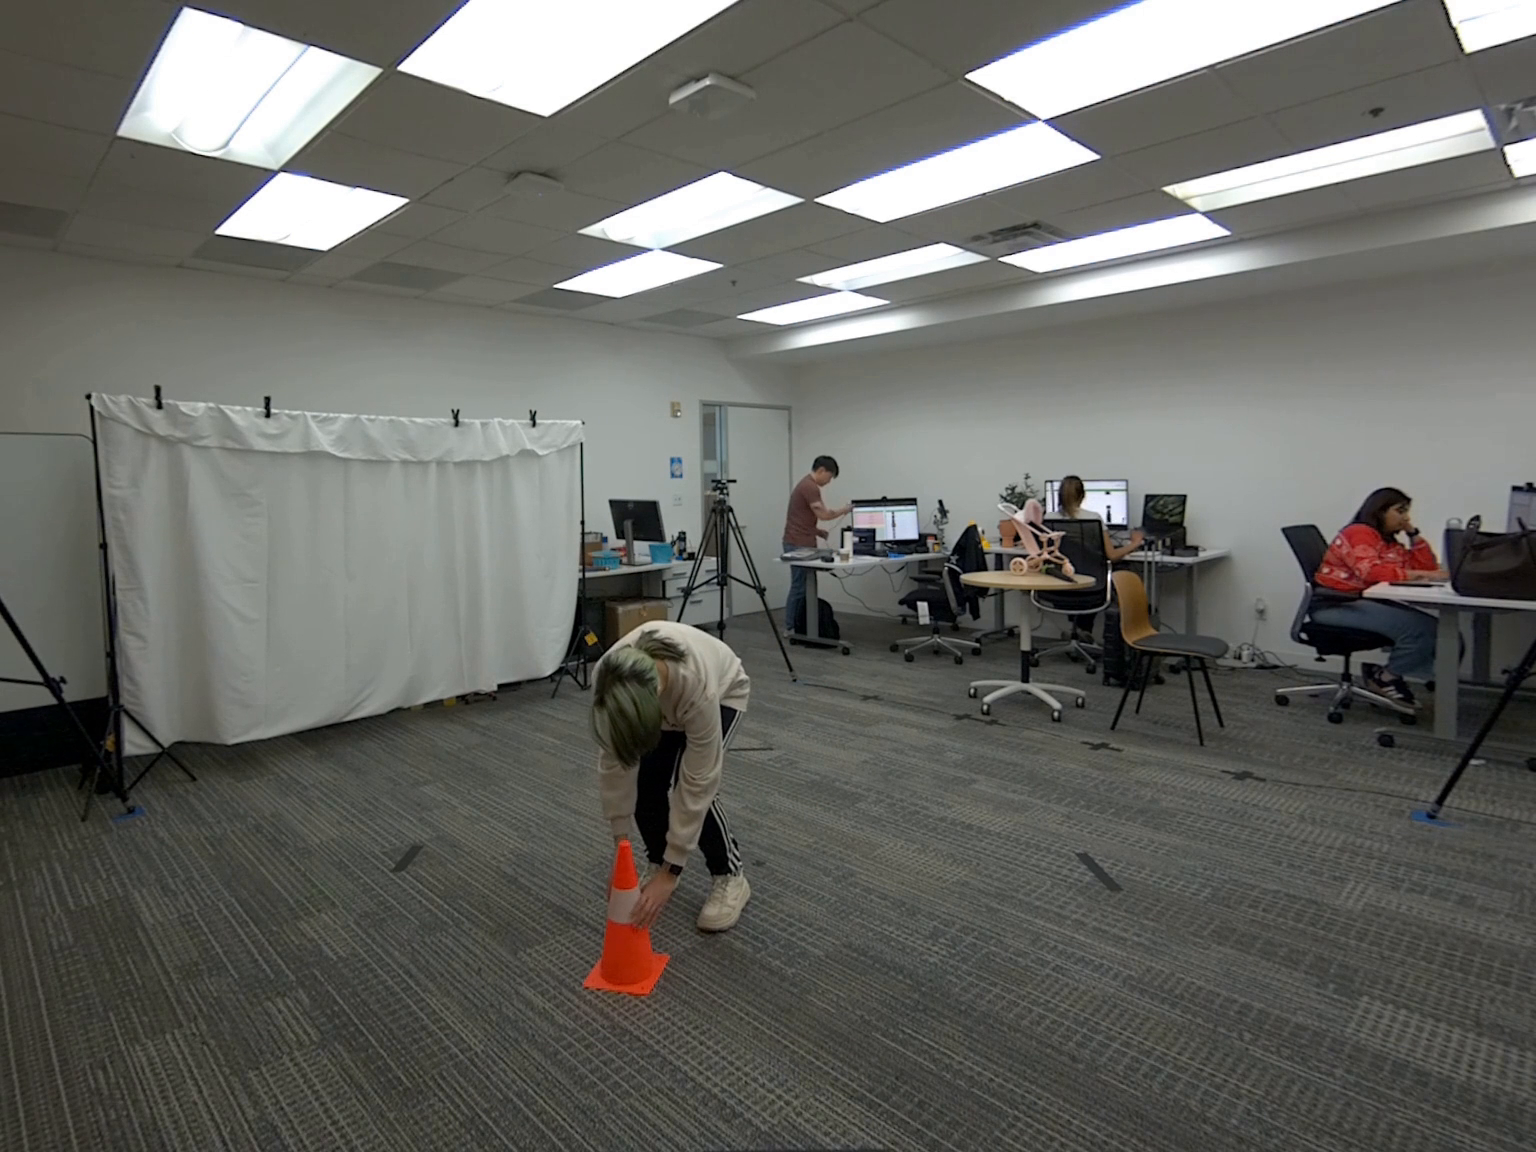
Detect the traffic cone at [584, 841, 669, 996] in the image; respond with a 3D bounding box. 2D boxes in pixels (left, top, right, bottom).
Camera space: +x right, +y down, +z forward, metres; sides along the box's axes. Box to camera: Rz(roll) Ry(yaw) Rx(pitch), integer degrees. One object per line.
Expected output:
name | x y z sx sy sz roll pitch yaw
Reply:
traffic cone | -0.394 0.949 2.437 0.206 0.382 0.203 1 4 13
